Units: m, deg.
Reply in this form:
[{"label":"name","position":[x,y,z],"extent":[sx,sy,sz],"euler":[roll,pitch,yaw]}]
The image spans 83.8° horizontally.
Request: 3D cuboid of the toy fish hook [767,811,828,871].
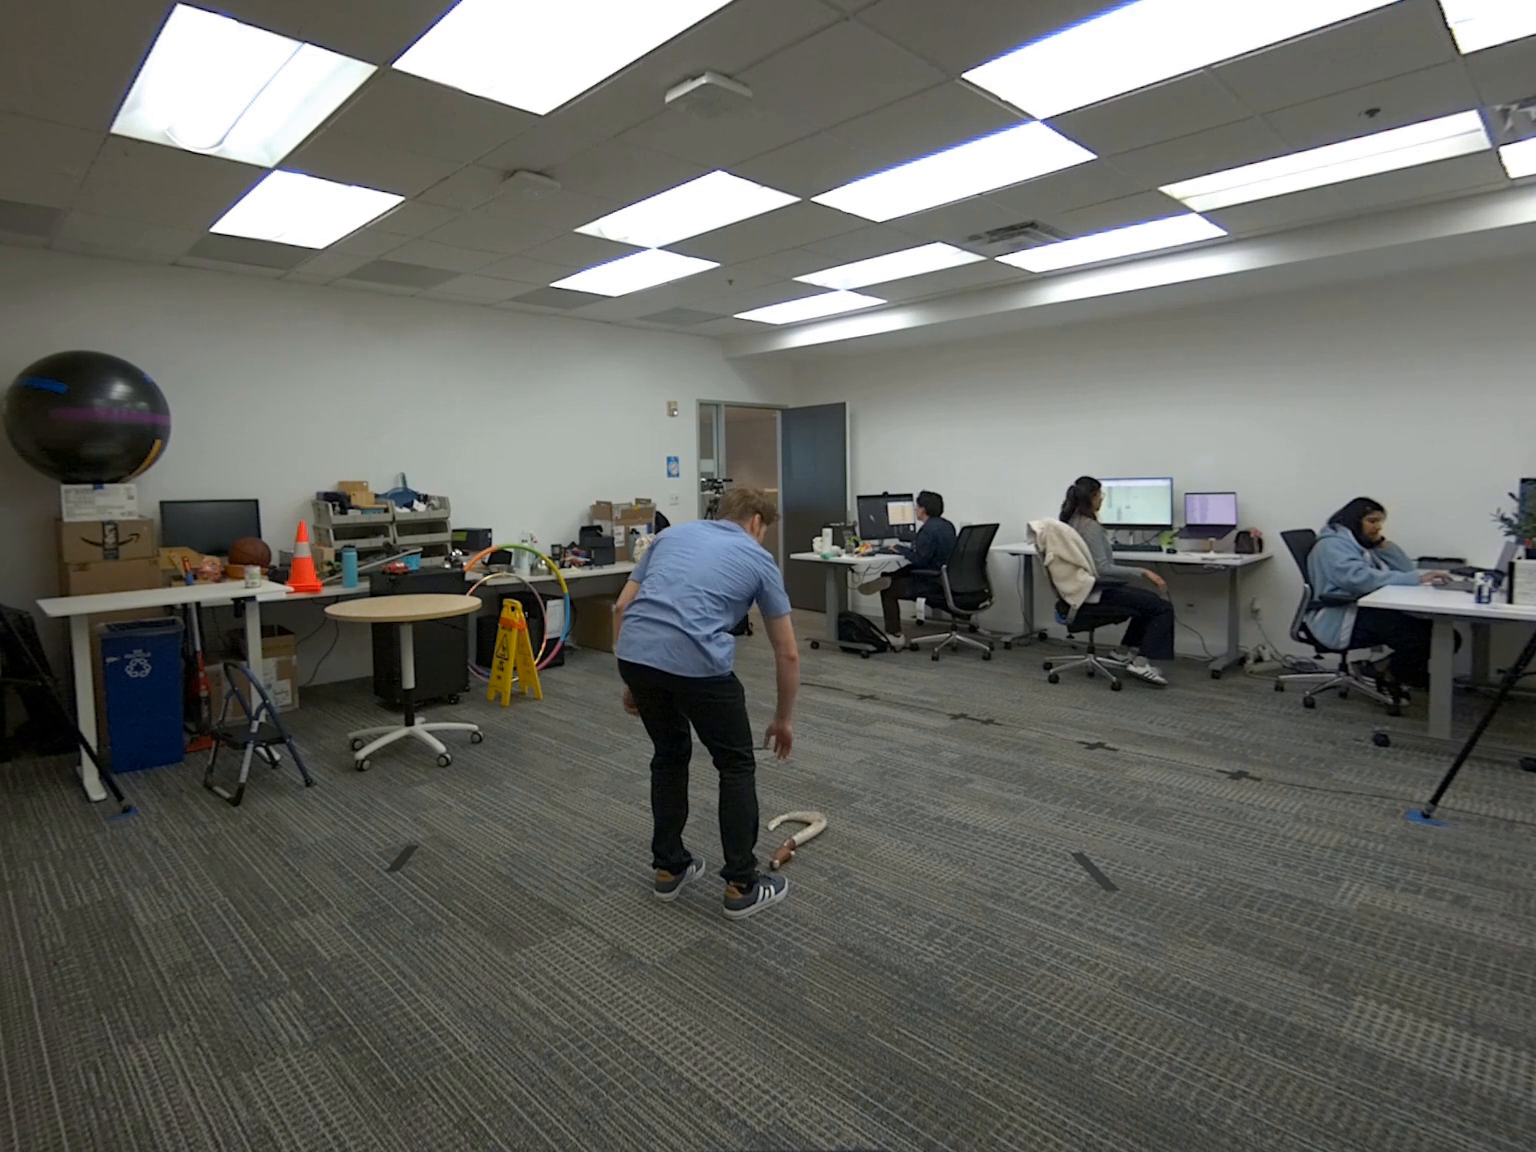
[{"label":"toy fish hook","position":[0.067,1.009,3.286],"extent":[0.229,0.048,0.497],"euler":[-7,3,24]}]
